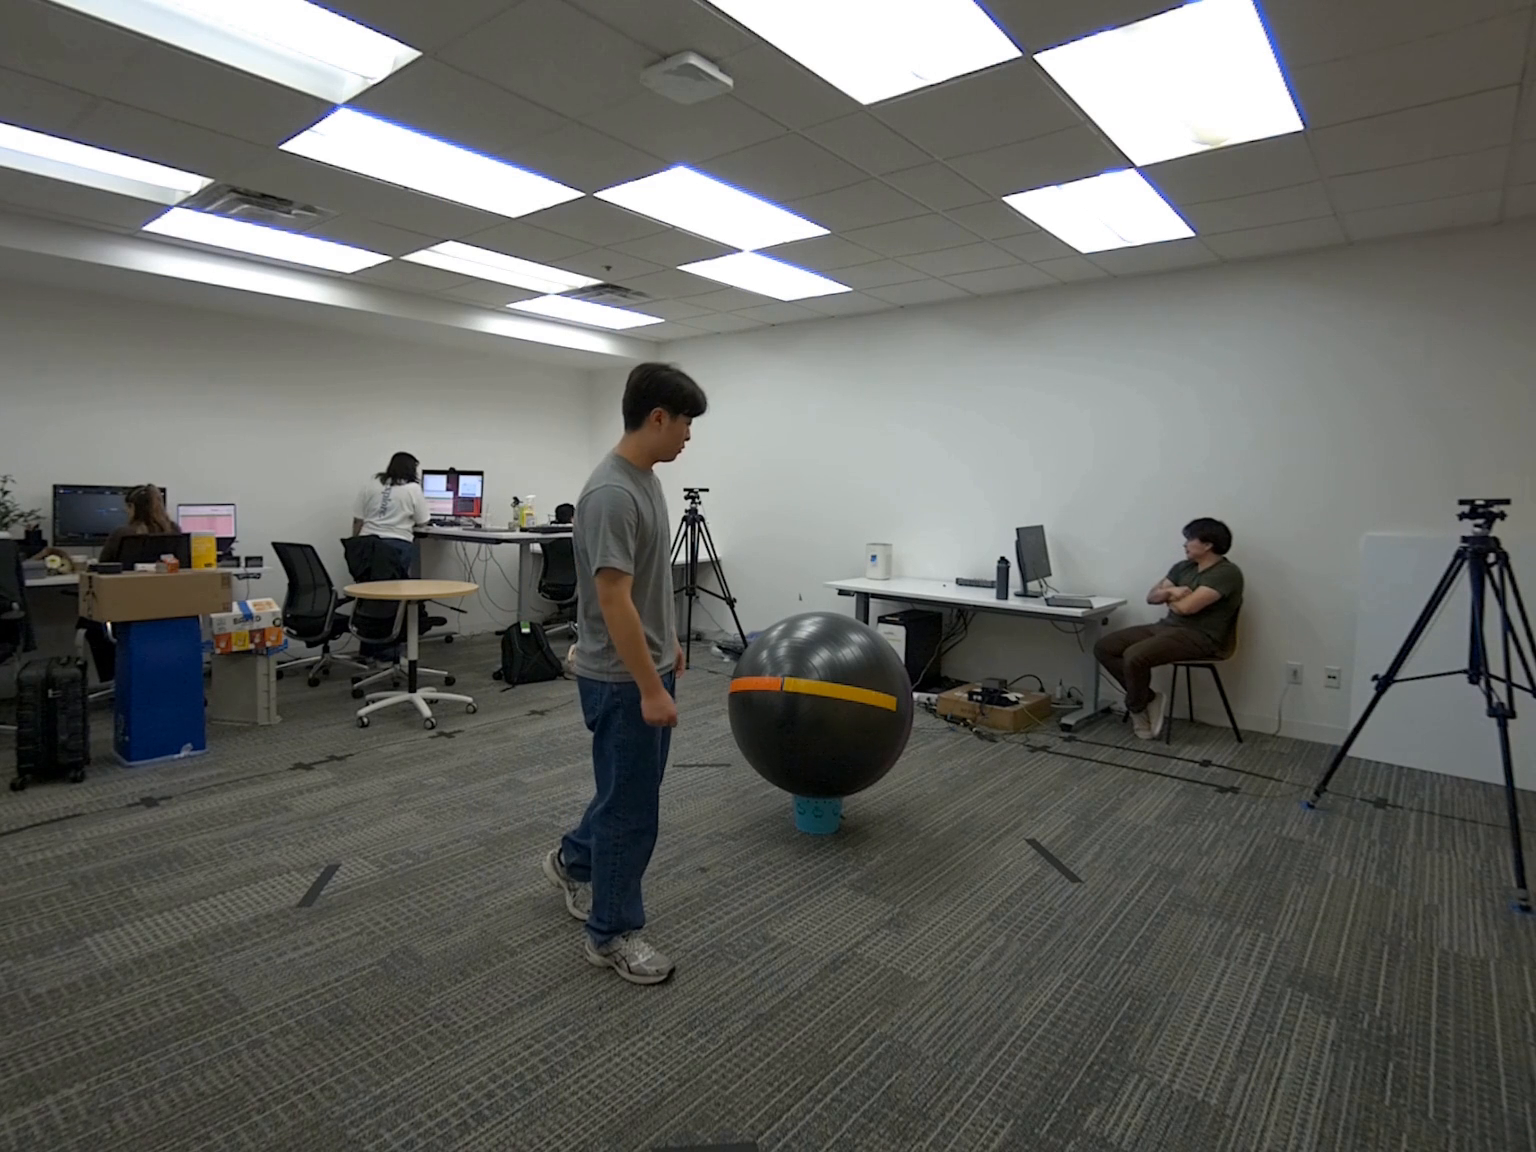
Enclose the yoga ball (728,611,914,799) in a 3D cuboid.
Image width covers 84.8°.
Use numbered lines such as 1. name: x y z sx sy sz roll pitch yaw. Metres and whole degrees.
1. yoga ball: 0.205 0.526 3.525 0.757 0.755 0.762 1 4 -2
